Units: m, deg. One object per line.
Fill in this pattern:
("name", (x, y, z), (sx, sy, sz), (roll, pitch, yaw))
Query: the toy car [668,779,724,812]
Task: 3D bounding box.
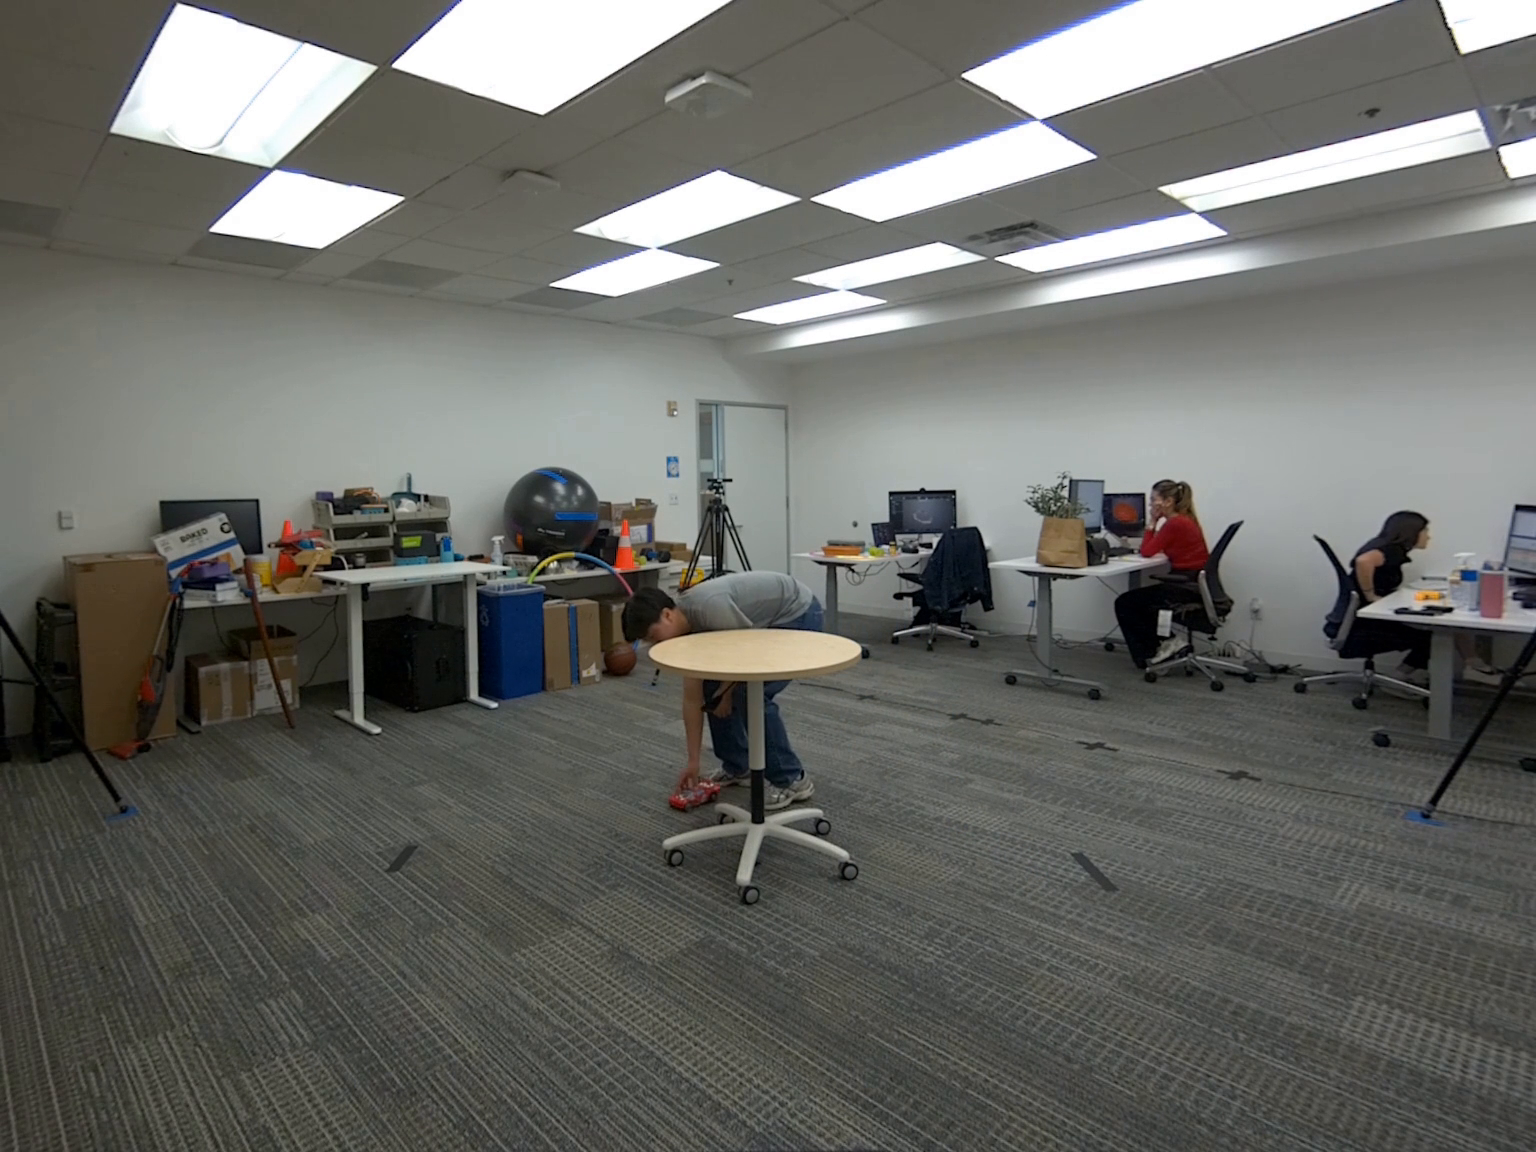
("toy car", (-0.309, 0.956, 3.705), (0.134, 0.082, 0.250), (3, 18, 44))
